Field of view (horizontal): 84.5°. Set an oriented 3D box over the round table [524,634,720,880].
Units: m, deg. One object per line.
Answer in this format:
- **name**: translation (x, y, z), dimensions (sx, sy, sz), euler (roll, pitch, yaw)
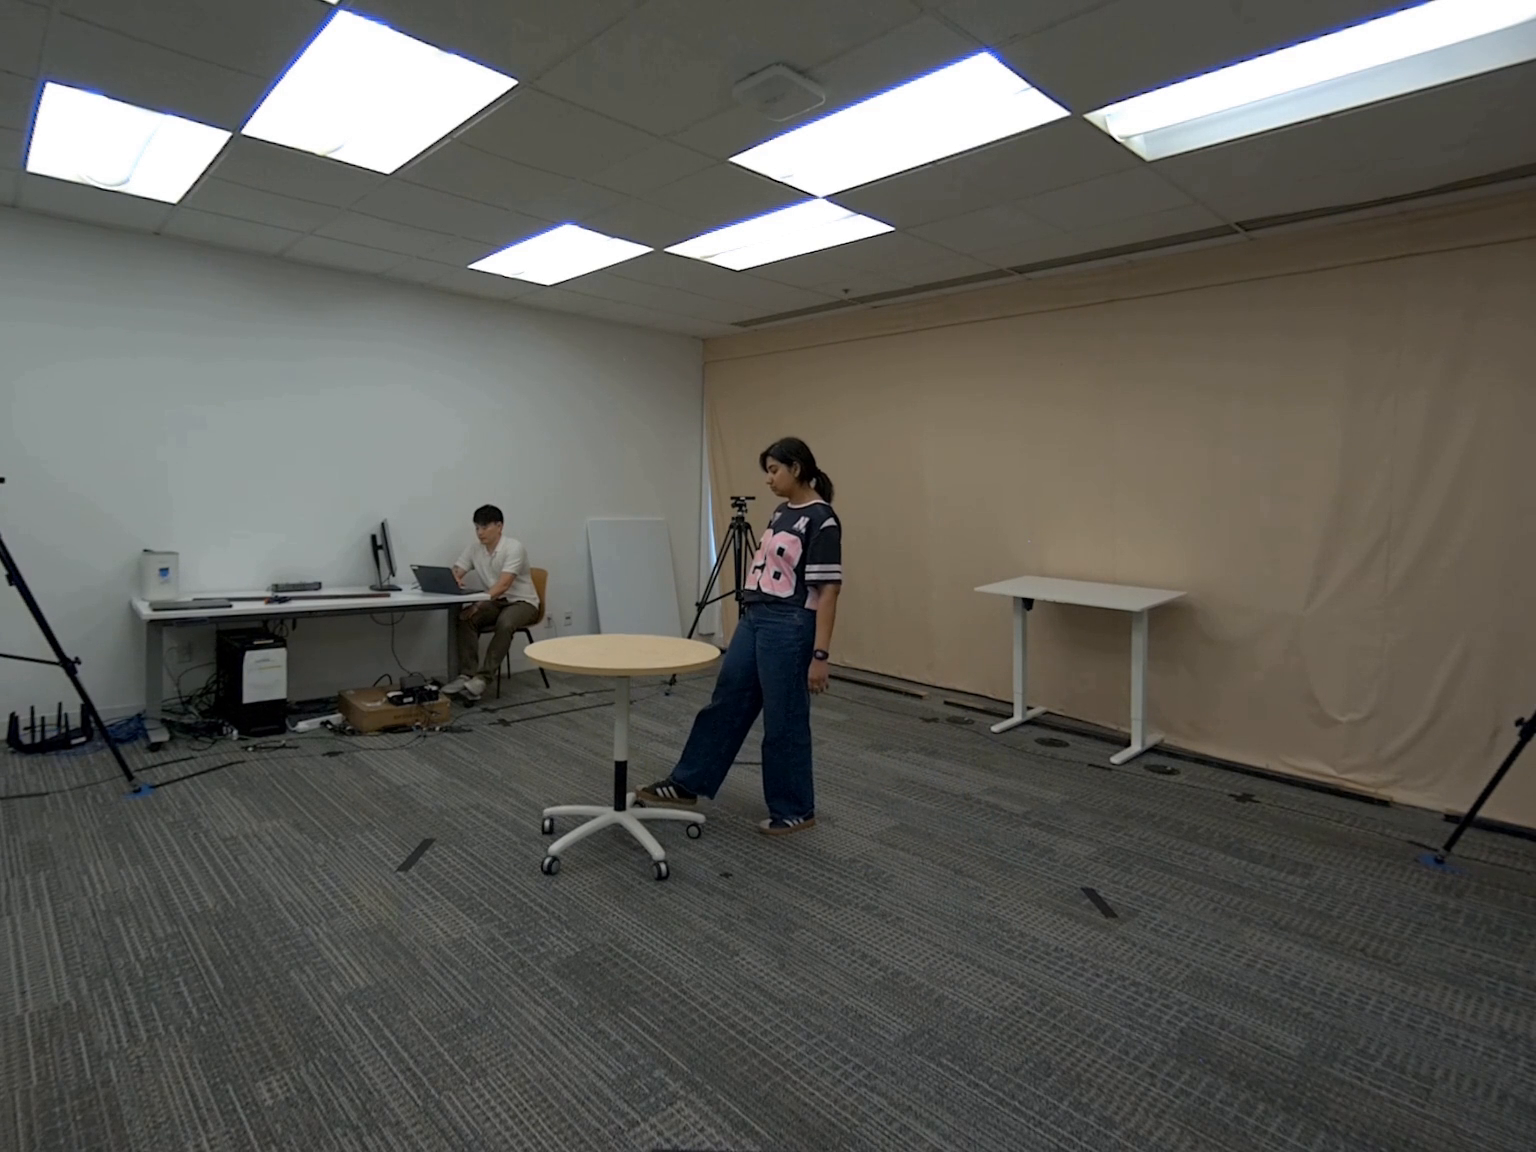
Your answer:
- **round table**: translation (-0.593, 0.687, 3.334), dimensions (0.763, 0.792, 0.766), euler (2, 4, -1)
